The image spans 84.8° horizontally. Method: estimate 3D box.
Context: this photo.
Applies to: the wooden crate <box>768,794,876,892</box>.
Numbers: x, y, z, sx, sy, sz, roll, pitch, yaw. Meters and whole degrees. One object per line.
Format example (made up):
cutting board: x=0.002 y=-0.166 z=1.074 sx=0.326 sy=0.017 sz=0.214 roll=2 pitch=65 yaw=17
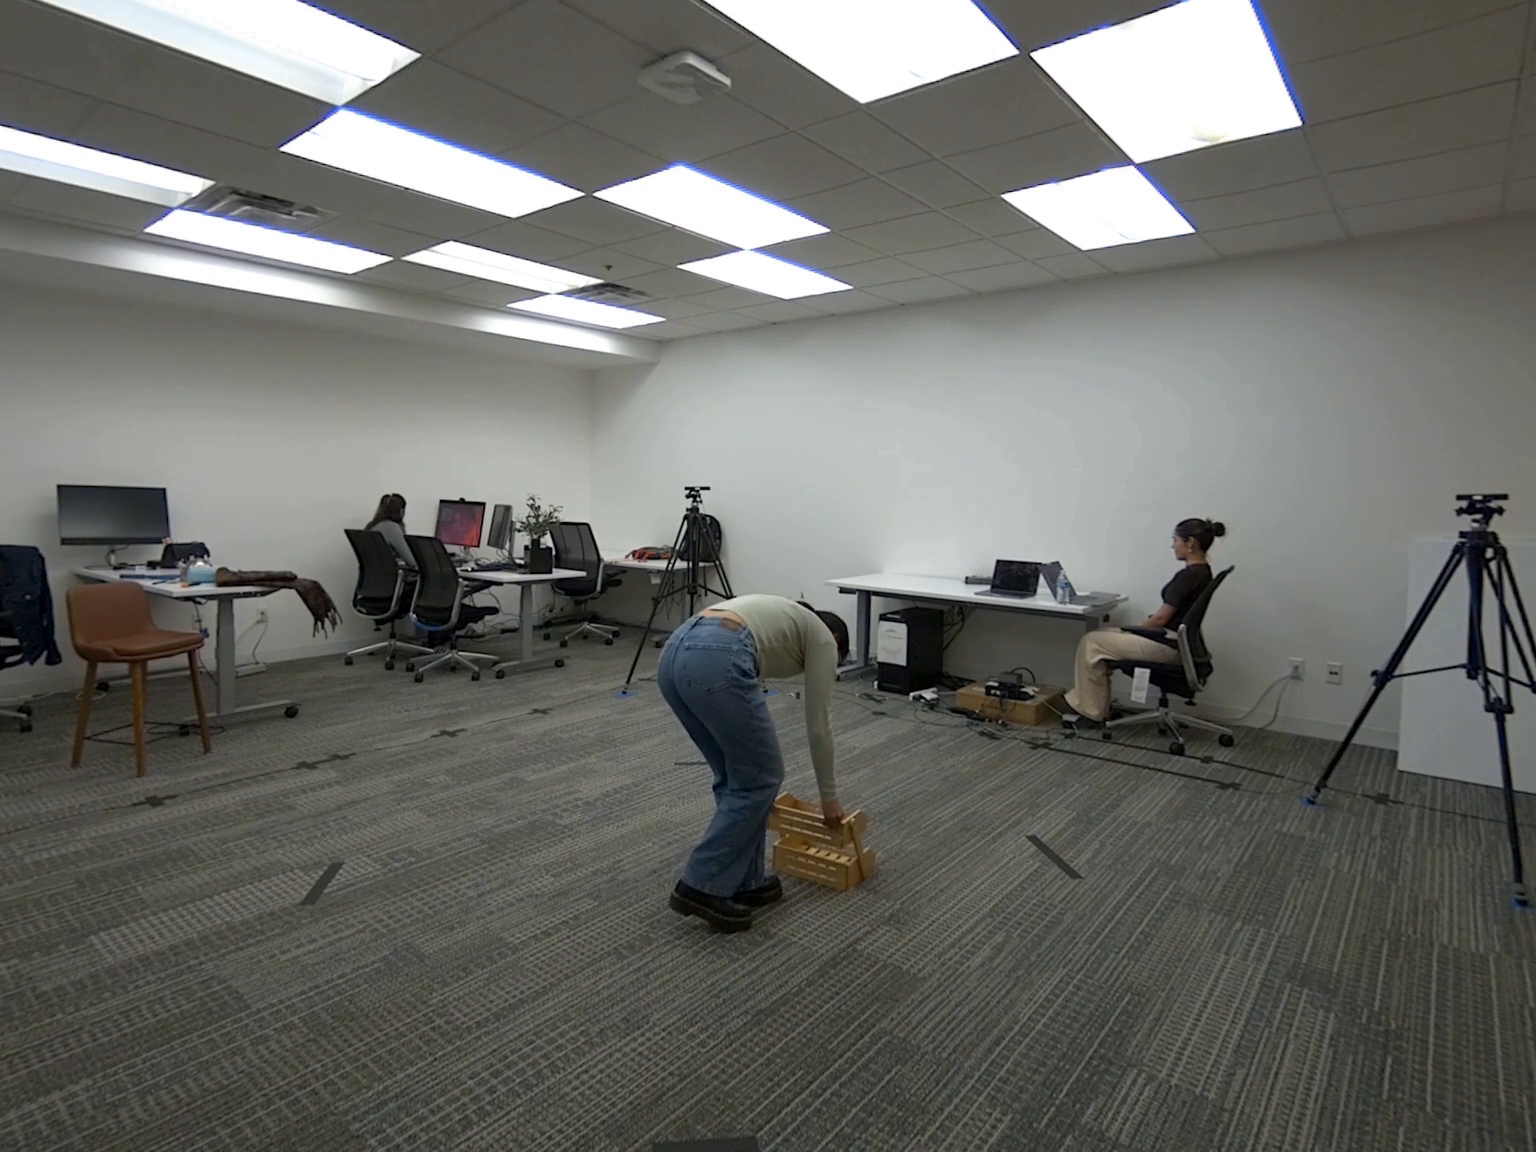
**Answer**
wooden crate: x=0.192 y=0.941 z=3.102 sx=0.334 sy=0.272 sz=0.294 roll=4 pitch=5 yaw=32
